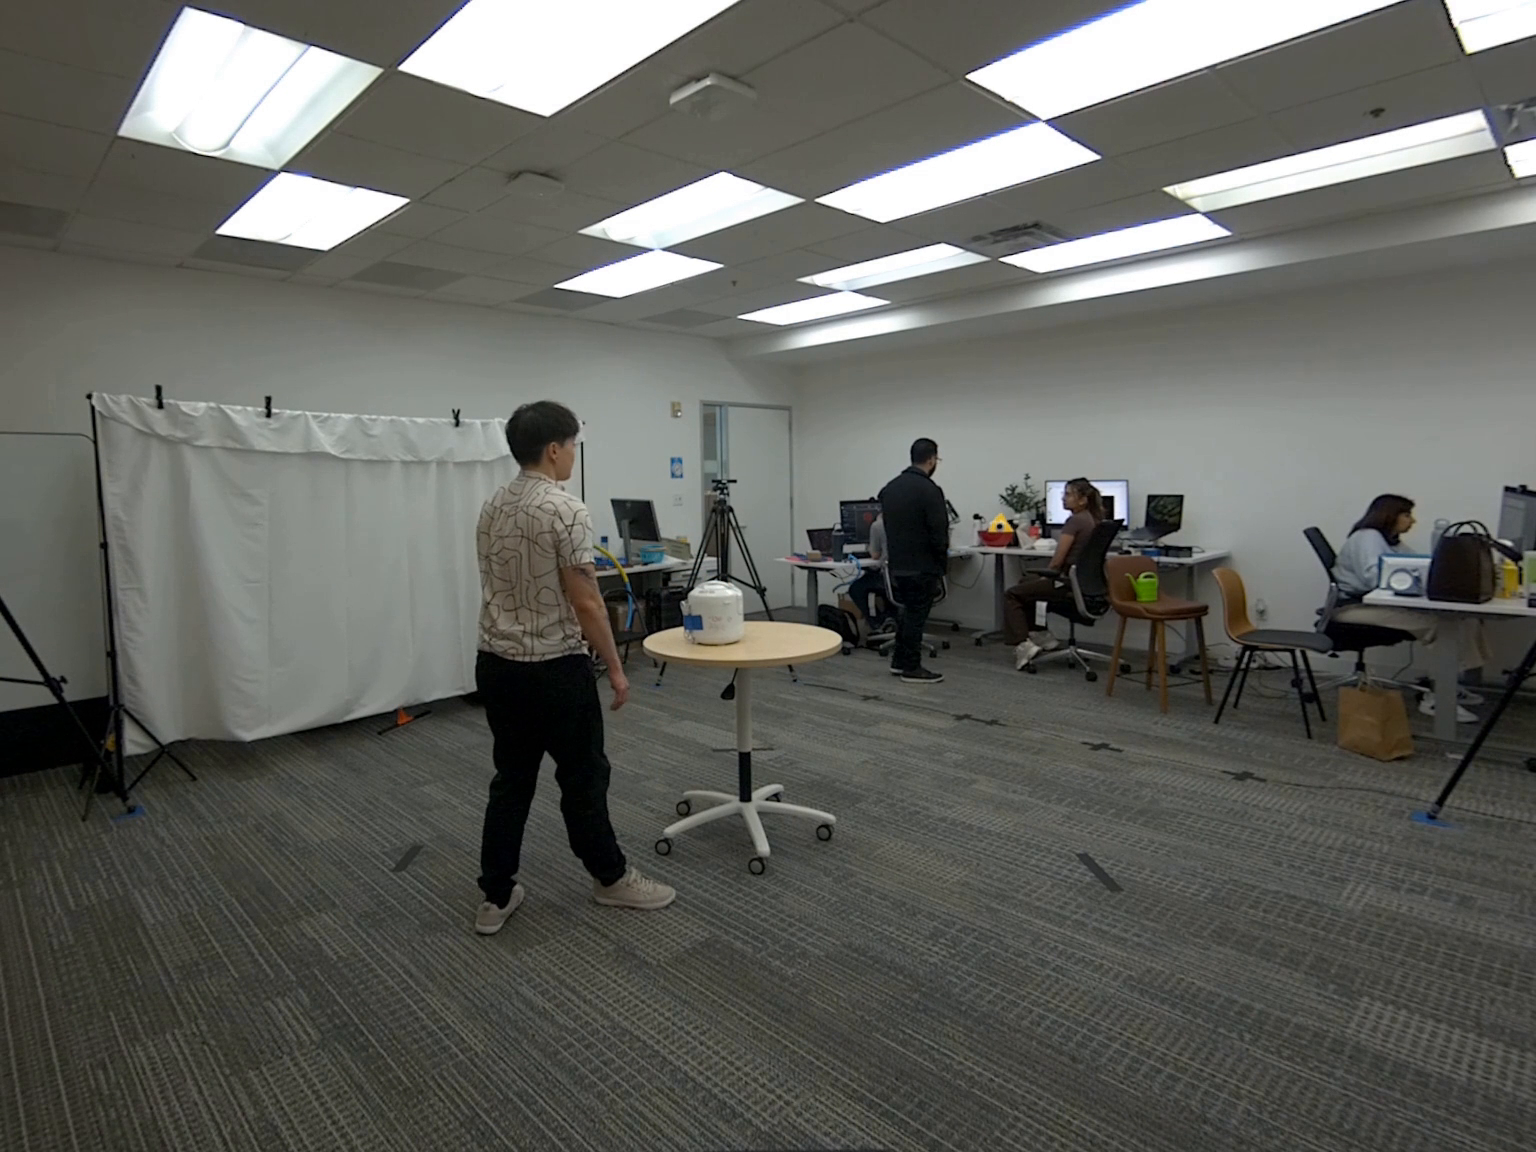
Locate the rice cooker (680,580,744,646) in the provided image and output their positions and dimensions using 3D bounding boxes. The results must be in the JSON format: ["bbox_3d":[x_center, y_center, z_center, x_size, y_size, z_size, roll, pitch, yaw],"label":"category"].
[{"bbox_3d":[-0.195,0.134,3.271,0.226,0.232,0.213,1,6,26],"label":"rice cooker"}]
